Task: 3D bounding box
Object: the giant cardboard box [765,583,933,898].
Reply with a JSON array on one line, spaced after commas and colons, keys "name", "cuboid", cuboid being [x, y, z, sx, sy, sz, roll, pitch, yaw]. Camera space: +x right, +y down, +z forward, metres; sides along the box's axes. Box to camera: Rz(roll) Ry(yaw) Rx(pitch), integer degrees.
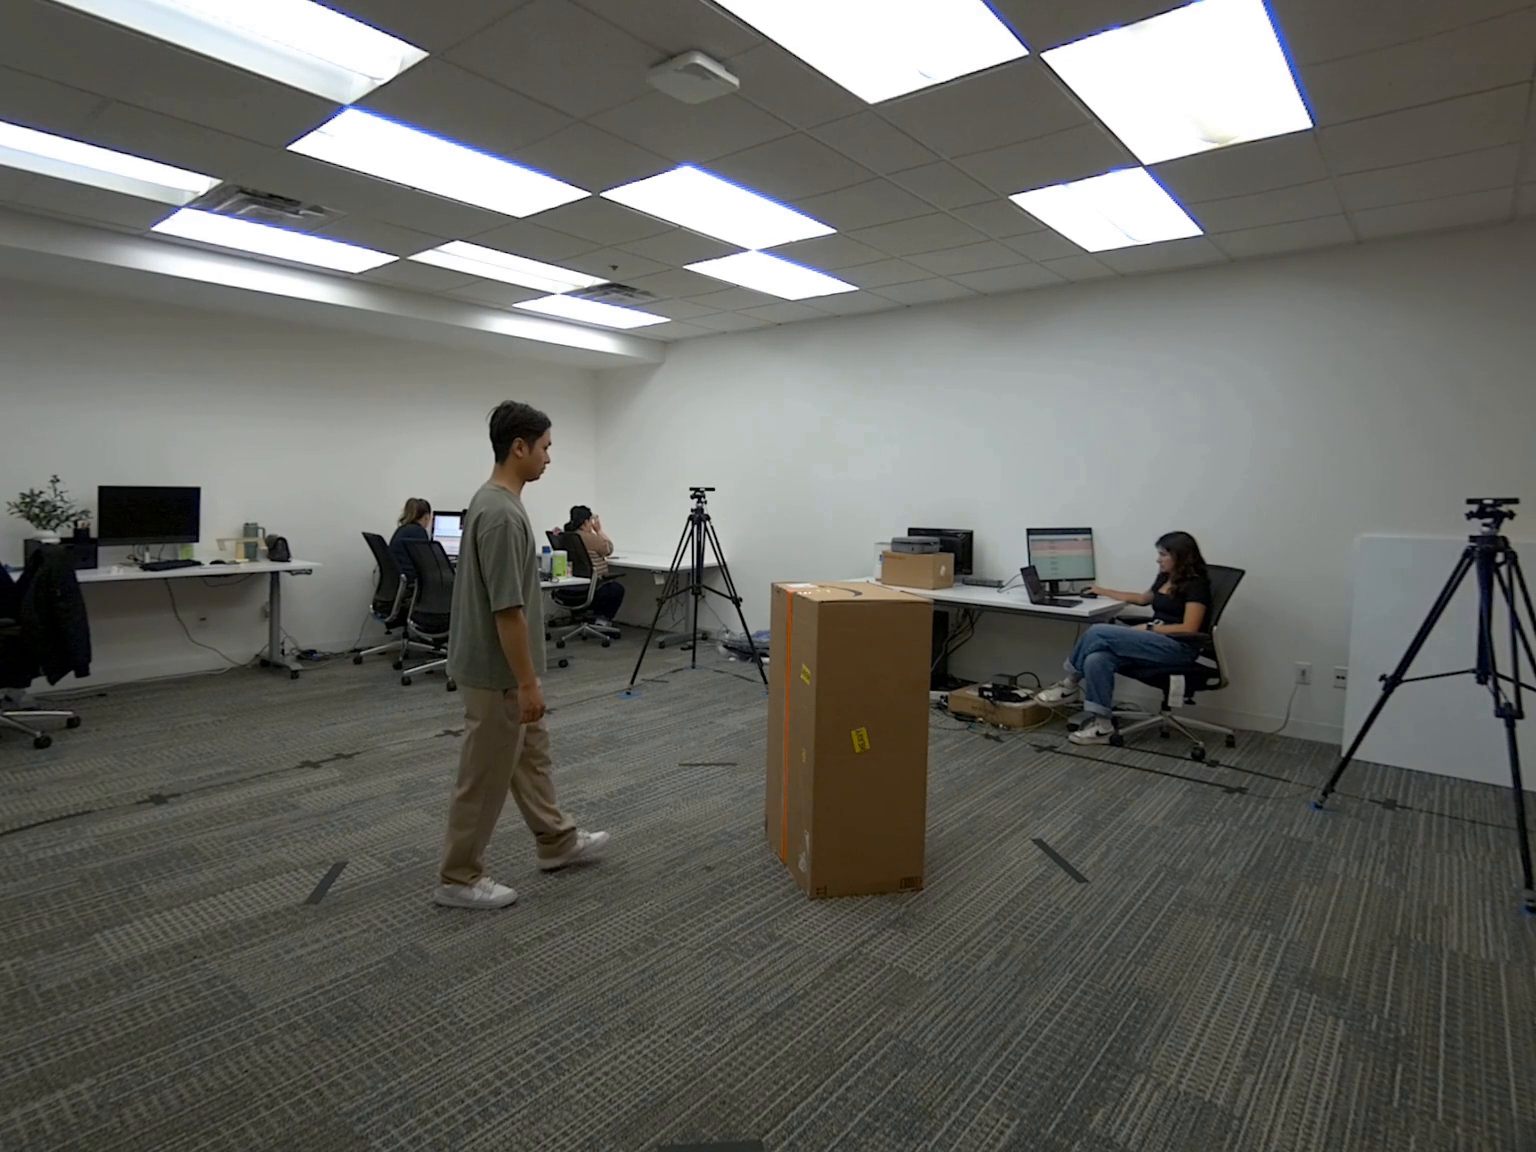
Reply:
[{"name": "giant cardboard box", "cuboid": [0.274, 0.564, 3.179, 0.420, 1.023, 0.587, 1, 3, -14]}]
